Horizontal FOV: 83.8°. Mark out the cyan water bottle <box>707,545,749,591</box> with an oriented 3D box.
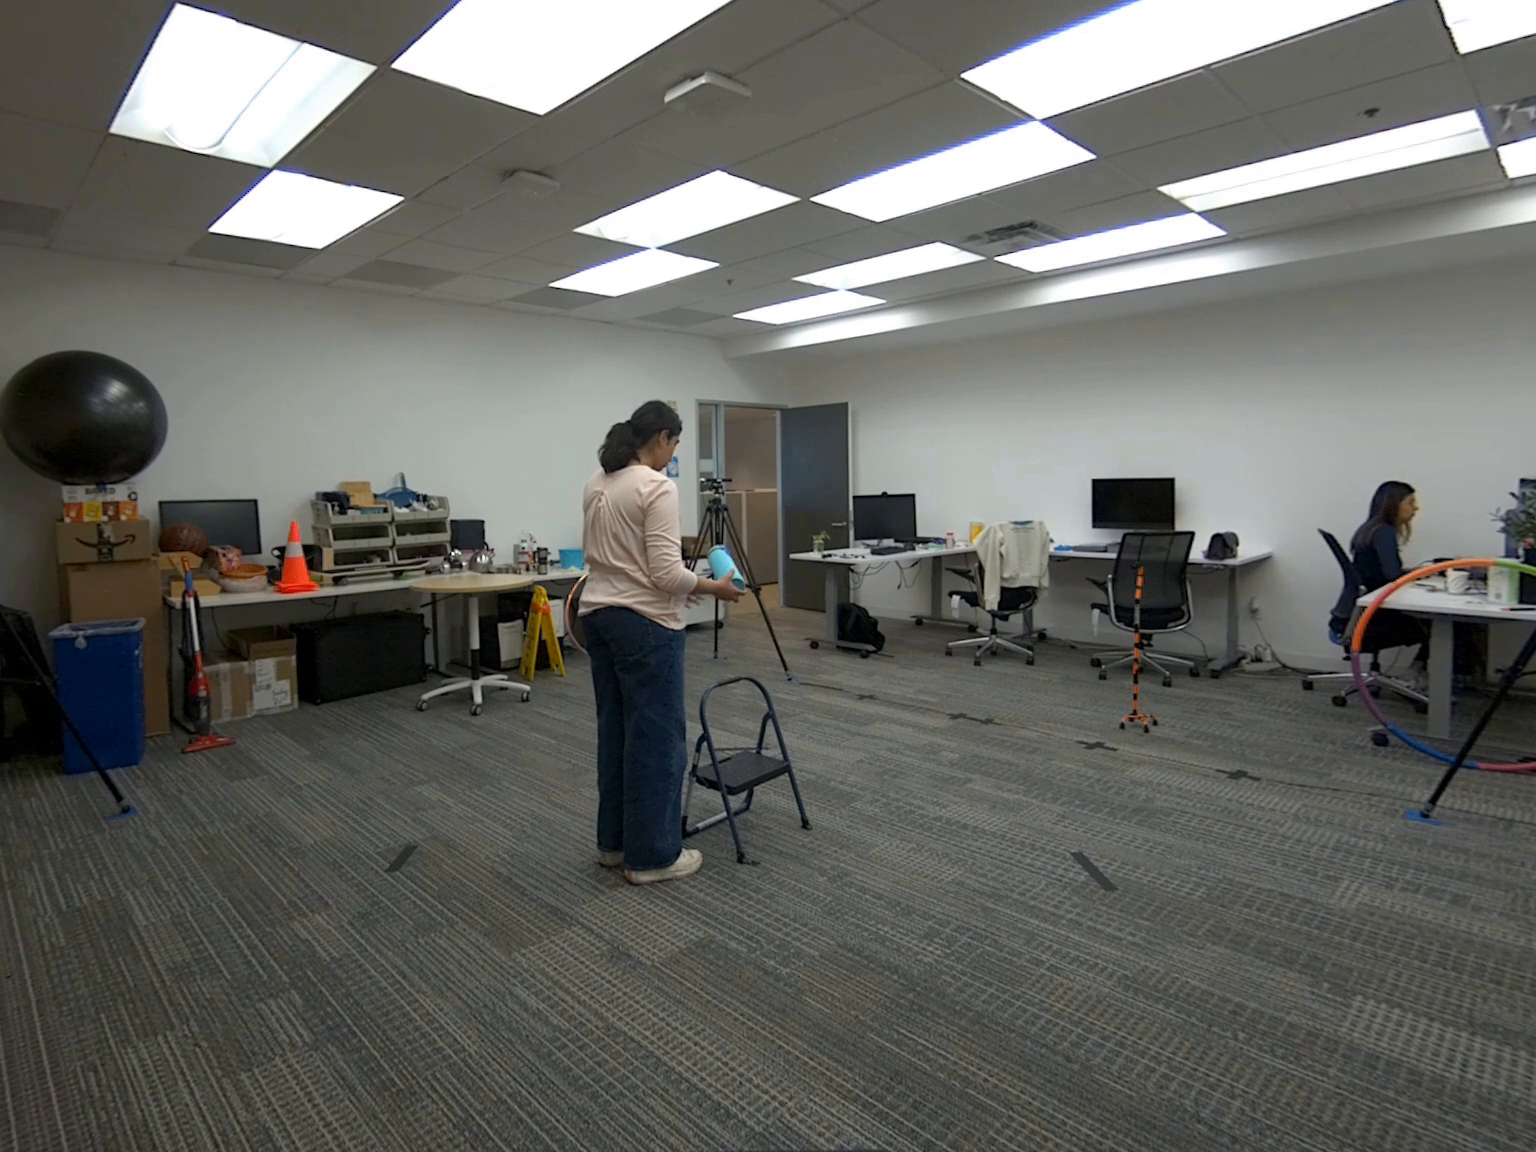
[{"bbox_3d":[-0.159,-0.026,3.214,0.091,0.090,0.293,-3,30,-16],"label":"cyan water bottle"}]
